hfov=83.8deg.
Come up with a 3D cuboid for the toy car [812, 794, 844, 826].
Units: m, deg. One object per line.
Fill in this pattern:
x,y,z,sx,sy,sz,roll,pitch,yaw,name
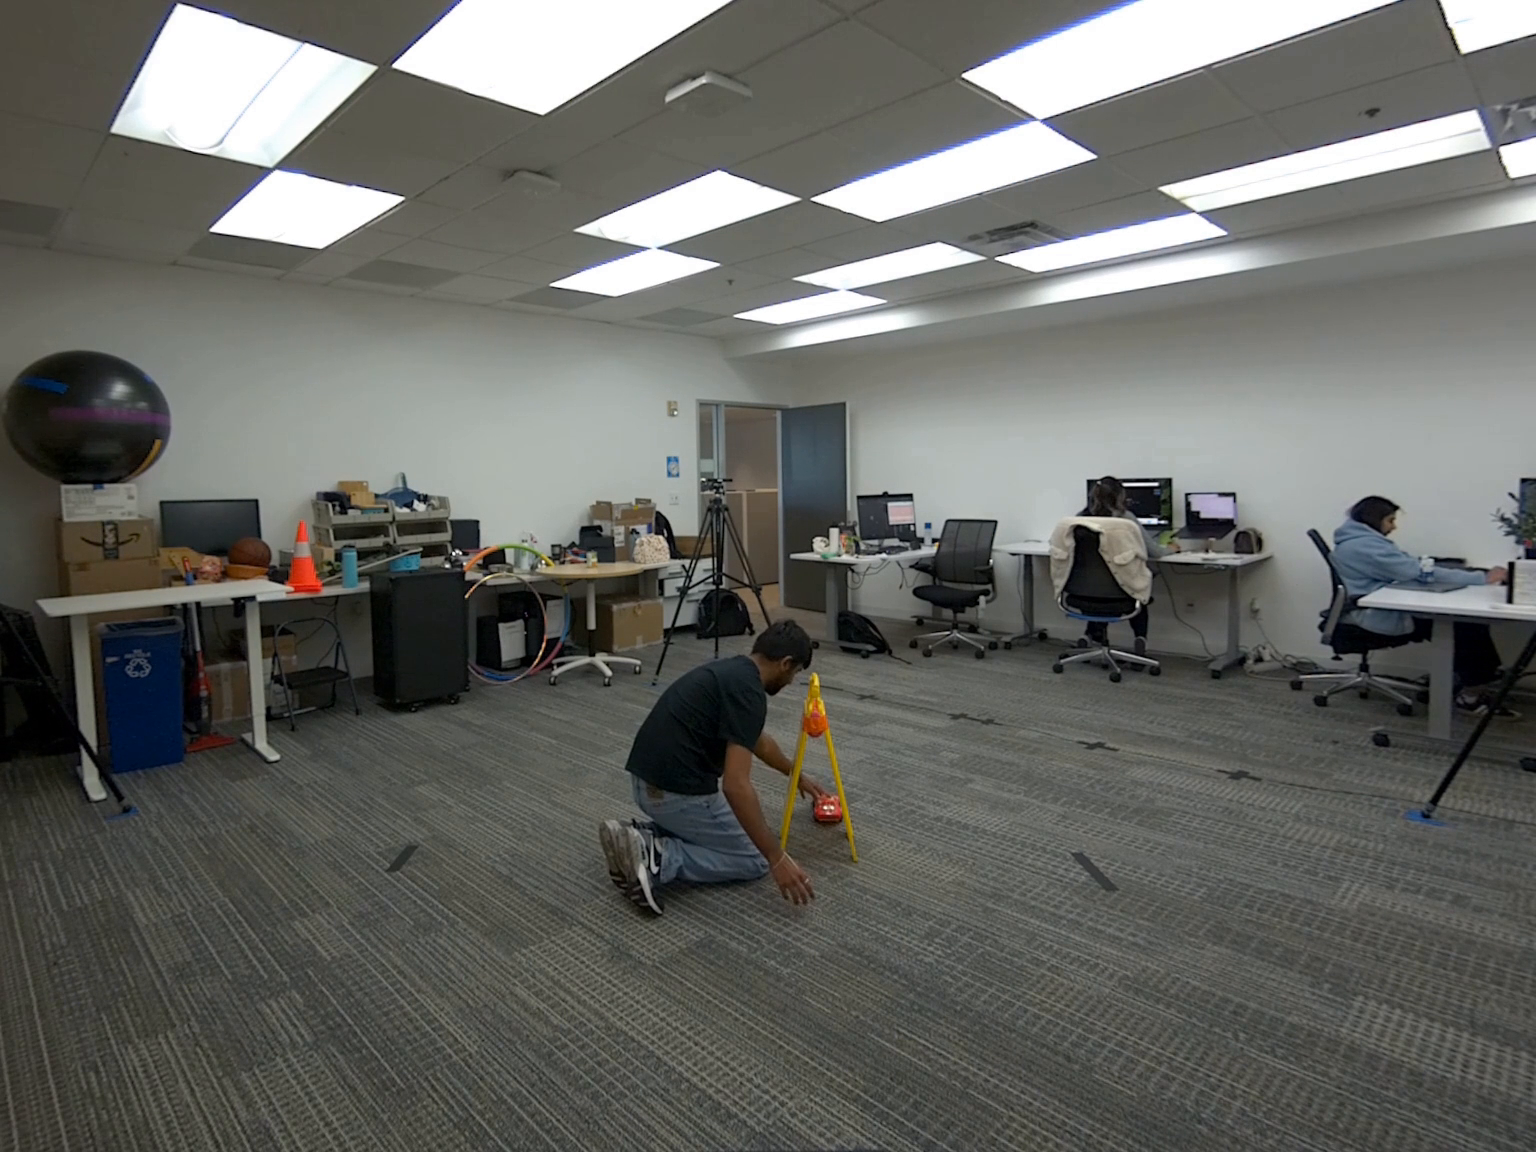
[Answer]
0.247,0.964,3.519,0.131,0.084,0.252,0,-6,1,toy car
